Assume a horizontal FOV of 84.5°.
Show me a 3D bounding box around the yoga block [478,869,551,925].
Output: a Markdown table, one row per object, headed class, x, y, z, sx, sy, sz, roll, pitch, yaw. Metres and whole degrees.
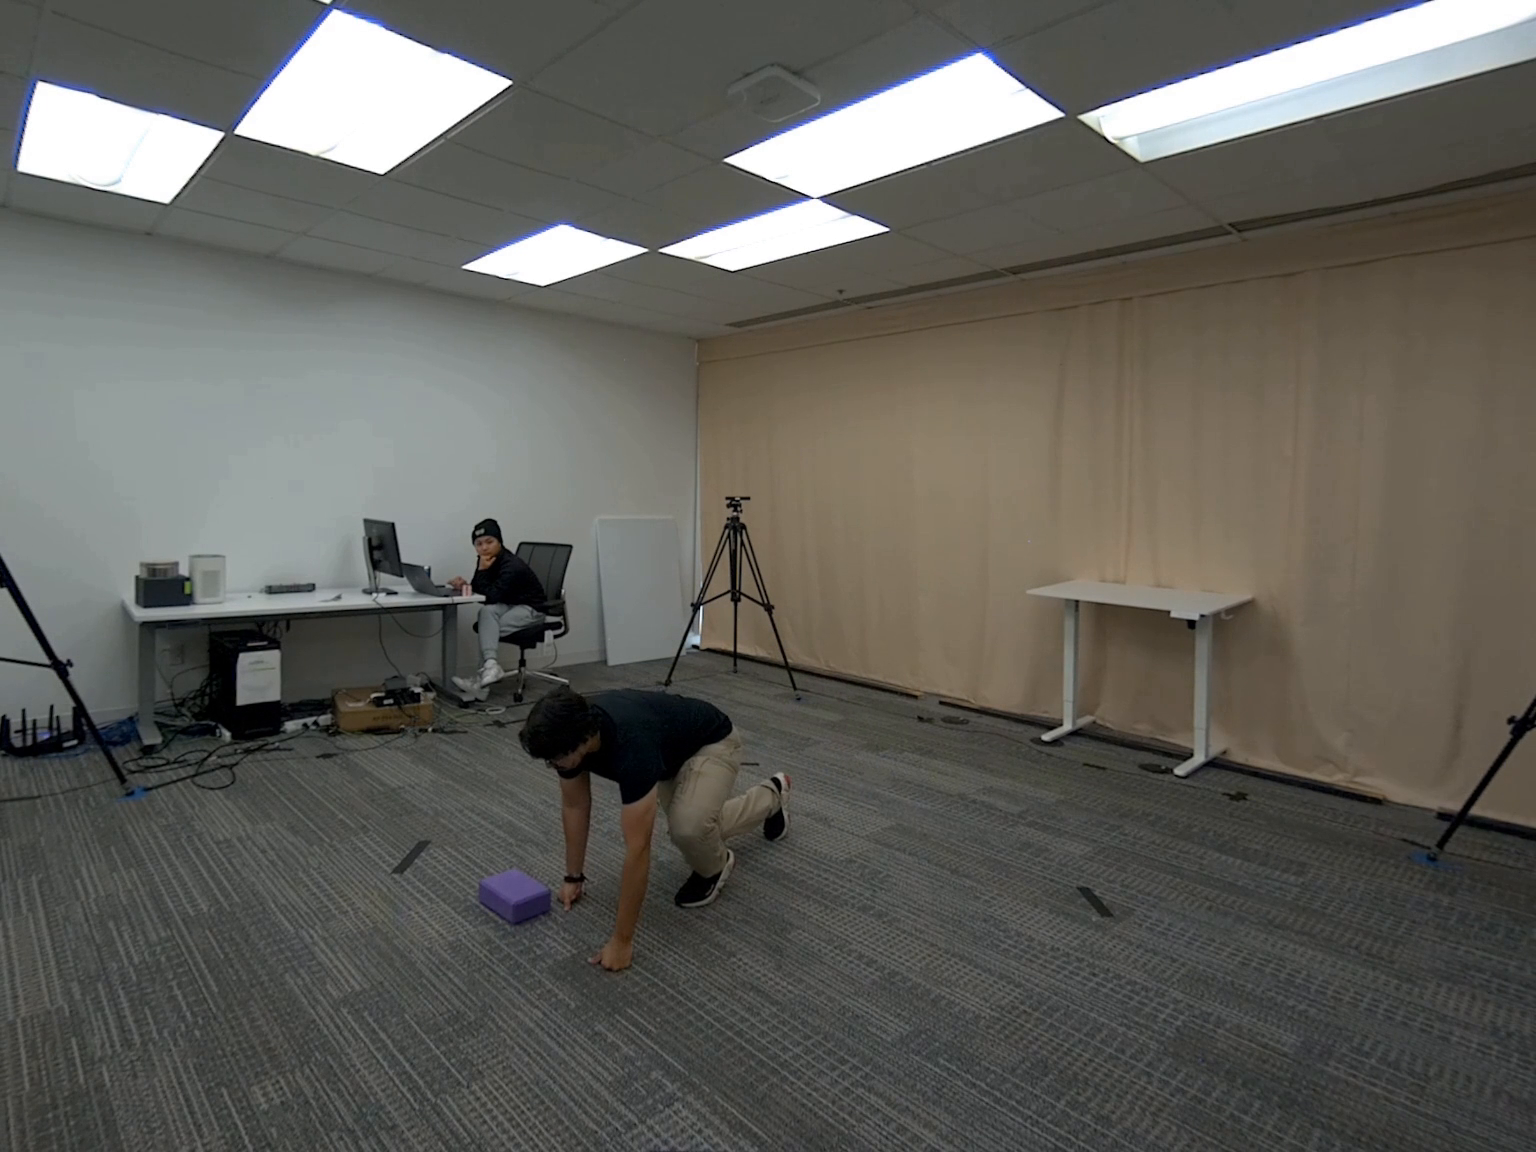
| class | x | y | z | sx | sy | sz | roll | pitch | yaw |
| --- | --- | --- | --- | --- | --- | --- | --- | --- | --- |
| yoga block | -0.857 | 1.071 | 2.837 | 0.235 | 0.076 | 0.146 | 5 | 7 | 42 |
